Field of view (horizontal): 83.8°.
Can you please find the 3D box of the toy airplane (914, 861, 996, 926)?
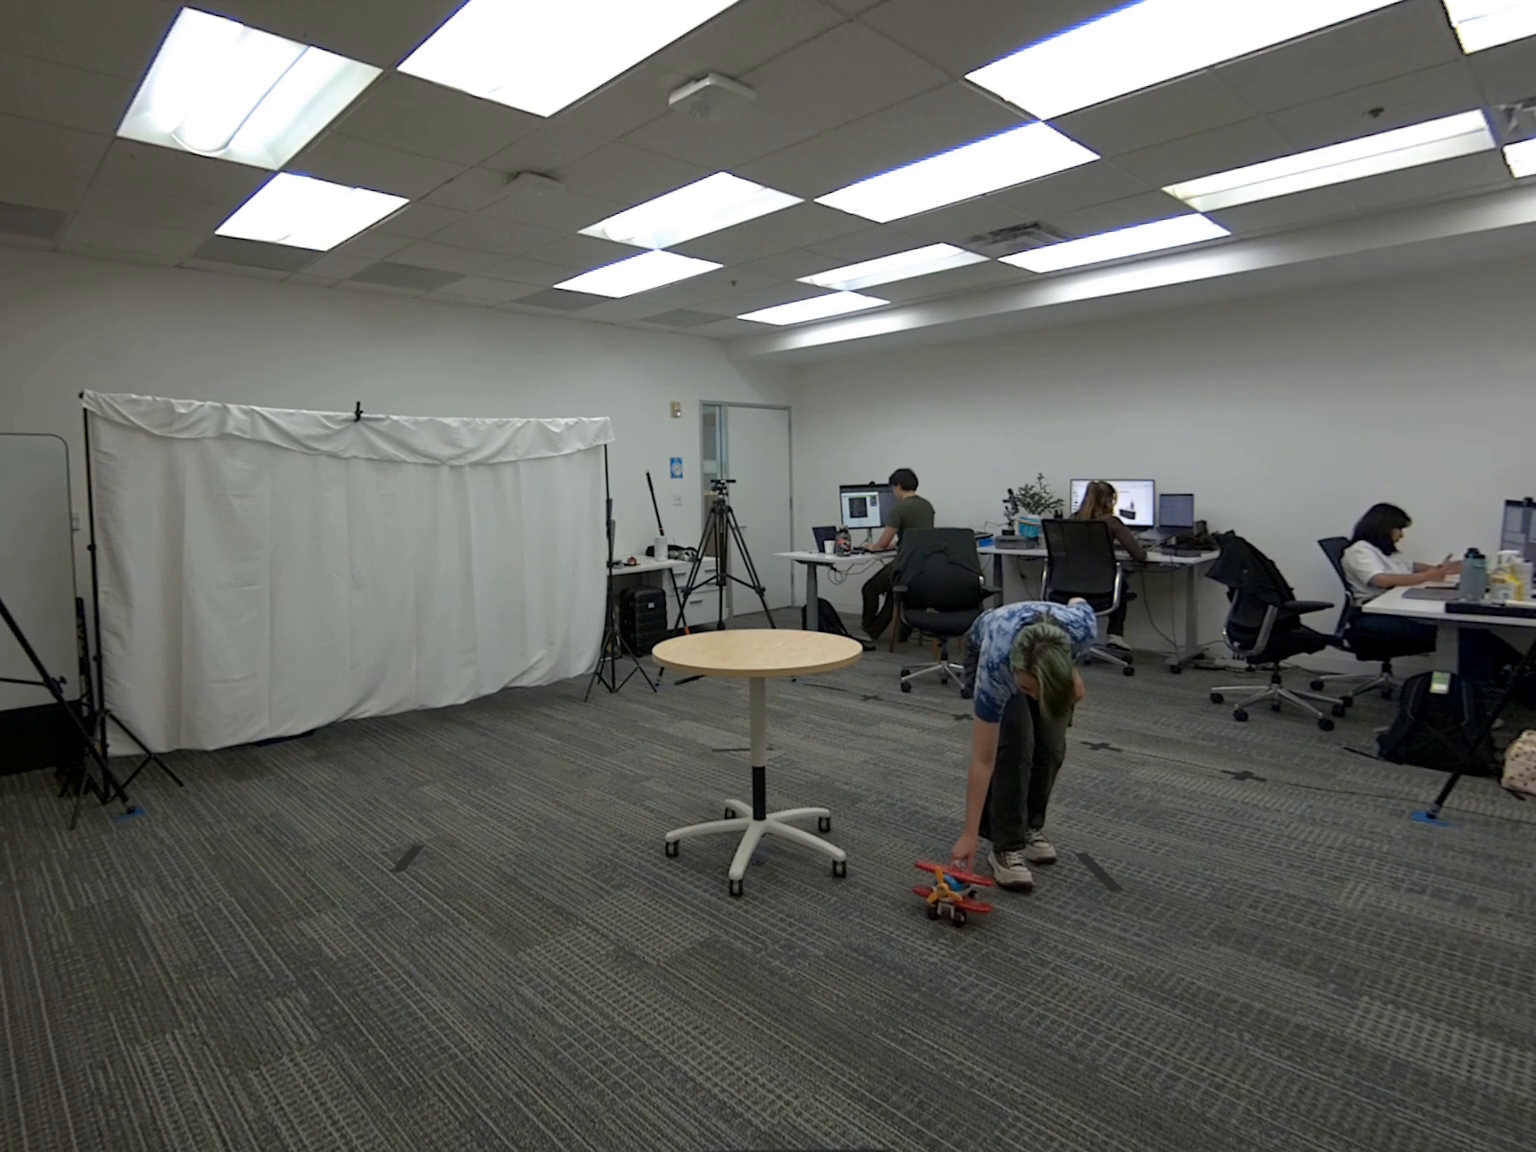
[{"bbox_3d":[0.596,1.004,2.747,0.253,0.155,0.259,1,7,6],"label":"toy airplane"}]
